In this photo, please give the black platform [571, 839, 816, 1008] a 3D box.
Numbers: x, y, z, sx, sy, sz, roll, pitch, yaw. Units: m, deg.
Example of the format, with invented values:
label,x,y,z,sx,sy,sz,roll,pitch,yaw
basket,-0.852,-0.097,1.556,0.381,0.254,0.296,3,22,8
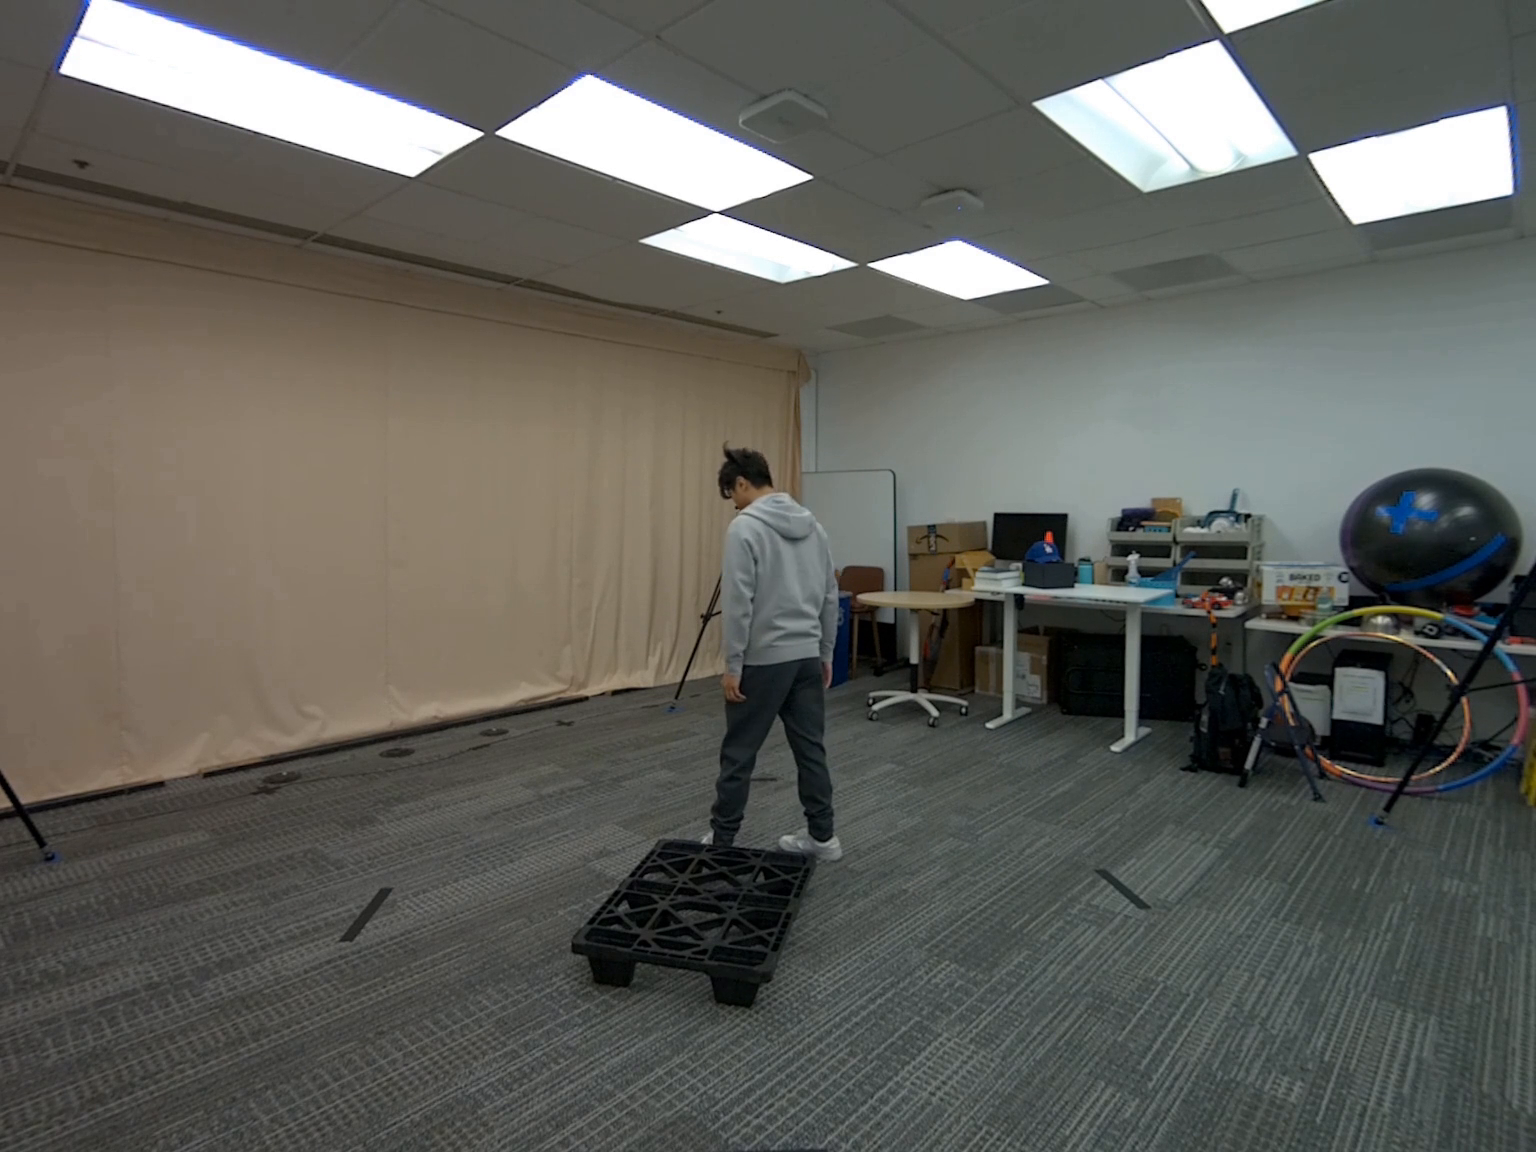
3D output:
label,x,y,z,sx,sy,sz,roll,pitch,yaw
black platform,-0.196,1.099,2.741,0.615,0.143,0.795,1,5,14
